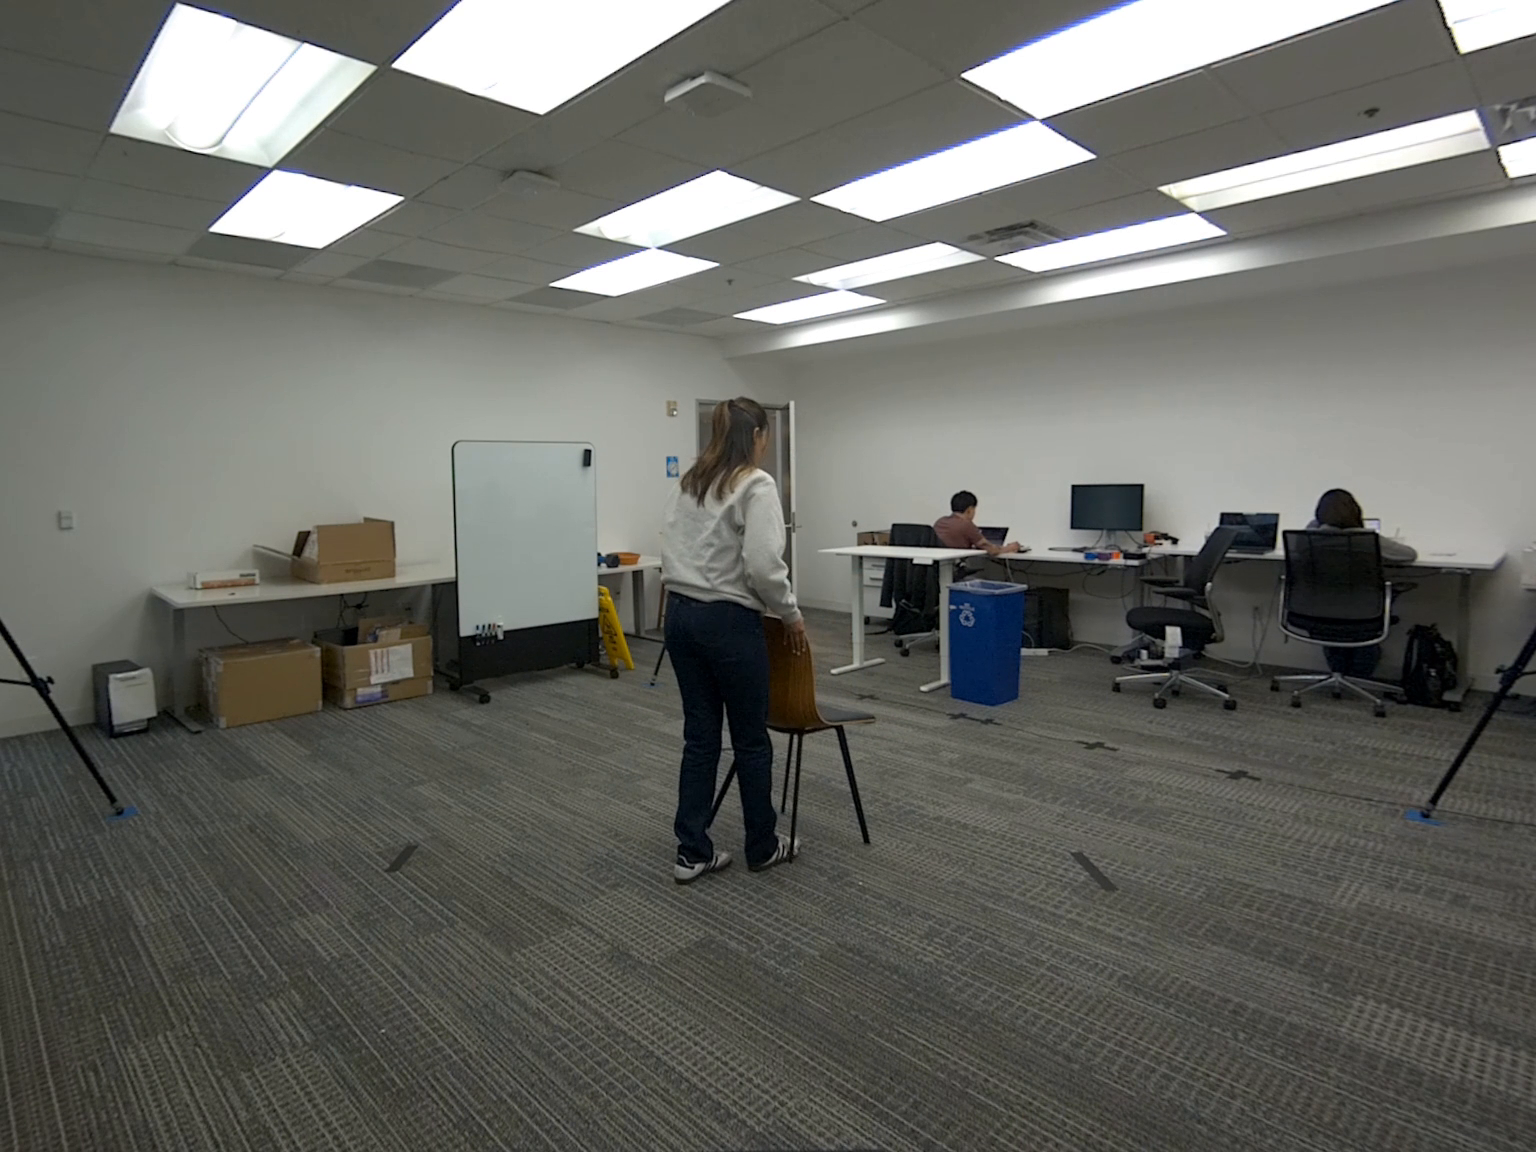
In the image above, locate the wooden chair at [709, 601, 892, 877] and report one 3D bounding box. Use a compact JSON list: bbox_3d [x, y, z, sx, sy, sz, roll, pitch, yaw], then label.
[{"bbox_3d":[0.109,0.567,3.287,0.492,0.877,0.508,3,2,44],"label":"wooden chair"}]
